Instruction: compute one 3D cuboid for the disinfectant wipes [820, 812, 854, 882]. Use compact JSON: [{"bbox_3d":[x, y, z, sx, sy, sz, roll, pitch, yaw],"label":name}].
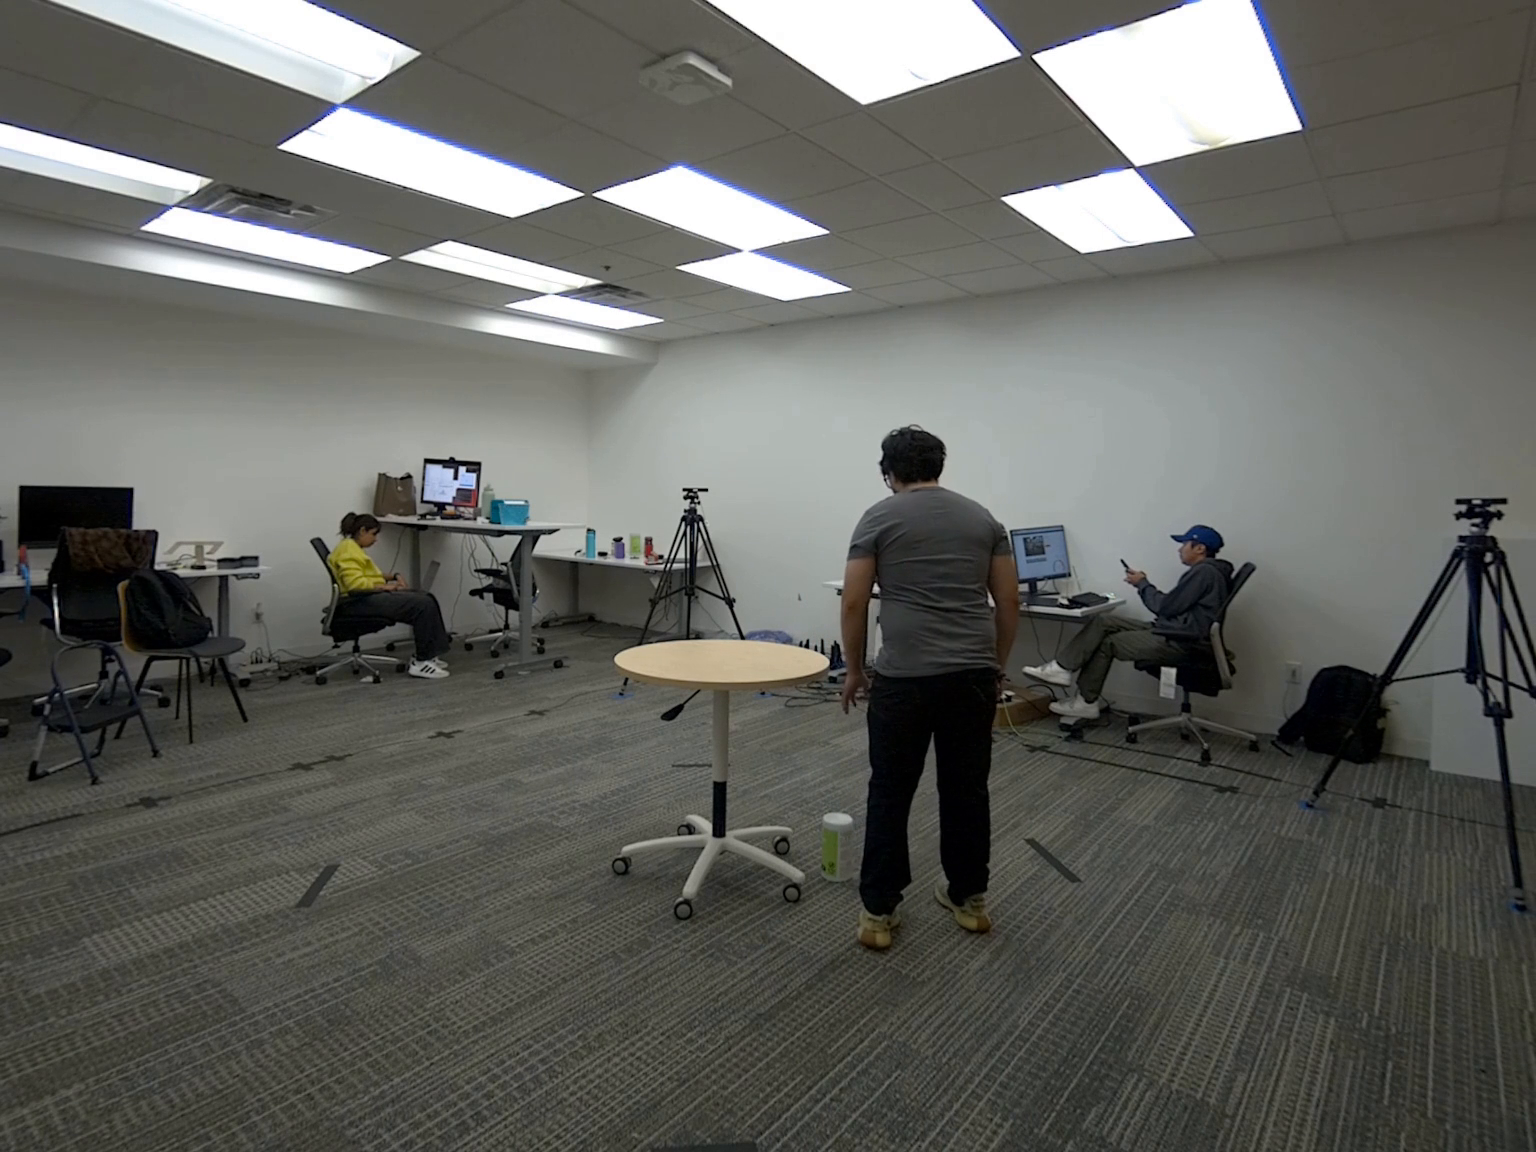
[{"bbox_3d":[0.240,0.974,3.068,0.117,0.217,0.118,3,3,-2],"label":"disinfectant wipes"}]
